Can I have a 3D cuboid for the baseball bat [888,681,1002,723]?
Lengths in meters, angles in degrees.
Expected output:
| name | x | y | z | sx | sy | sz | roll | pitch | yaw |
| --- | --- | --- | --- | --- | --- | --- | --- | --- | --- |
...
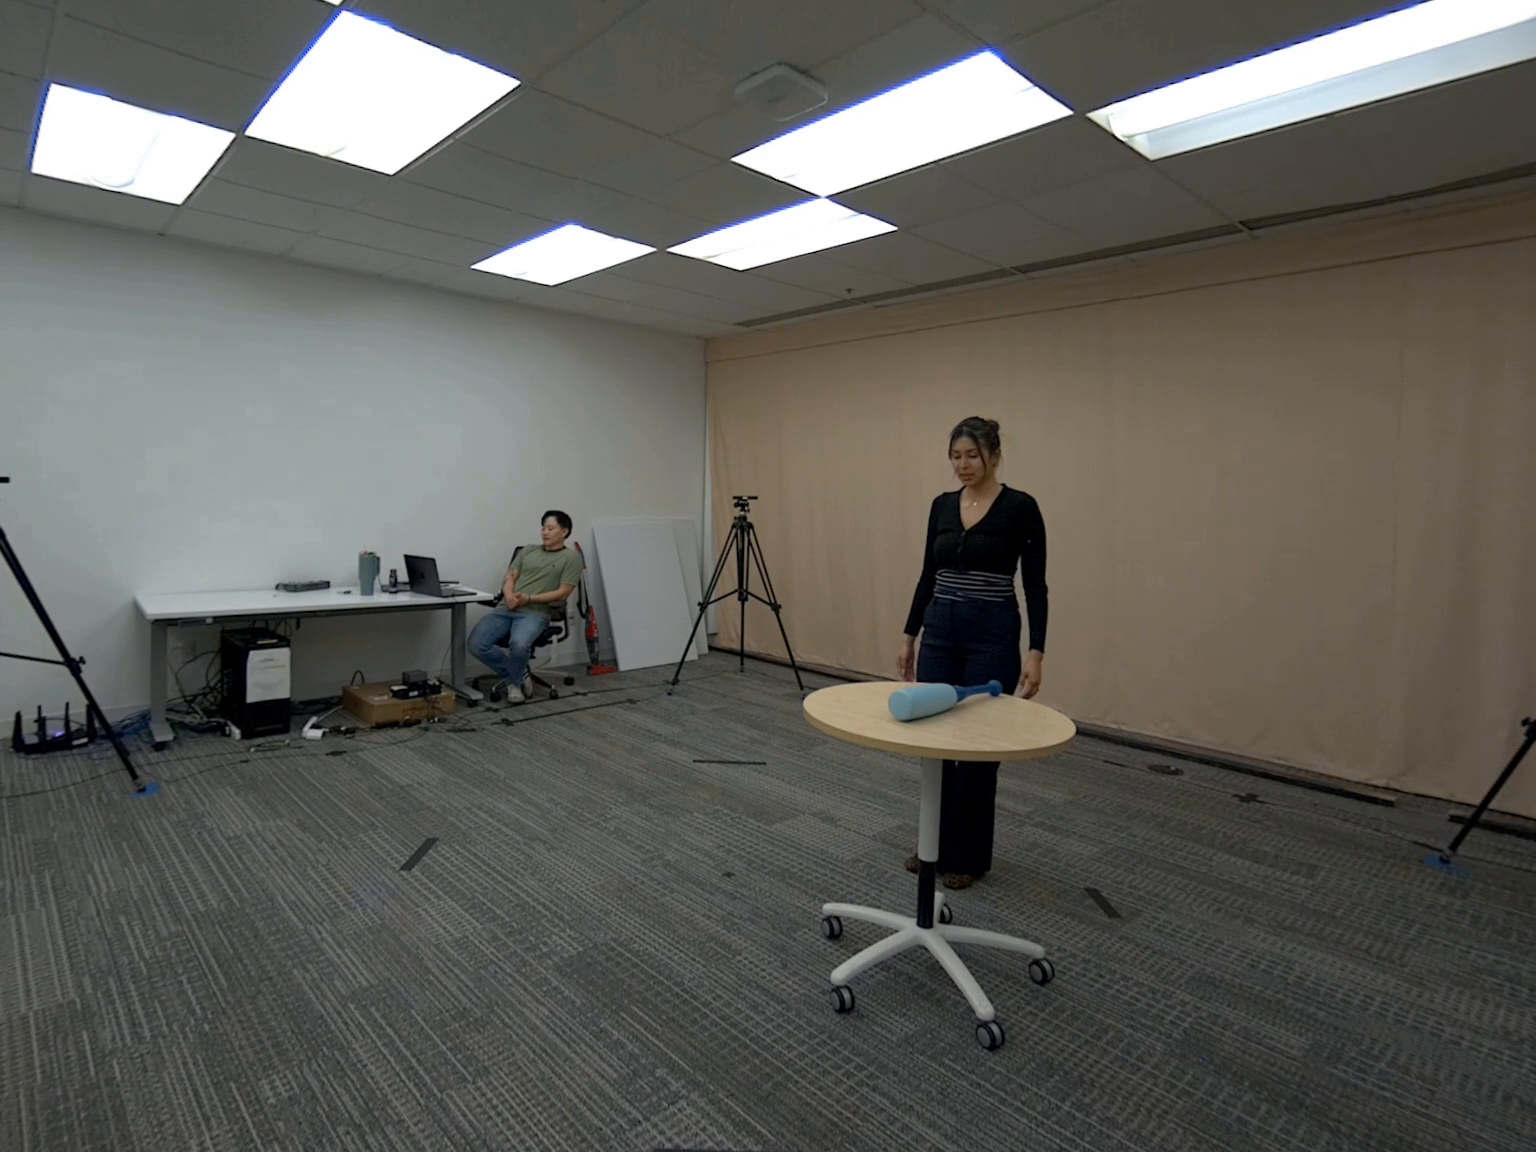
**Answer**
| name | x | y | z | sx | sy | sz | roll | pitch | yaw |
| --- | --- | --- | --- | --- | --- | --- | --- | --- | --- |
| baseball bat | 0.544 | 0.357 | 2.495 | 0.091 | 0.089 | 0.530 | 6 | 4 | 45 |
